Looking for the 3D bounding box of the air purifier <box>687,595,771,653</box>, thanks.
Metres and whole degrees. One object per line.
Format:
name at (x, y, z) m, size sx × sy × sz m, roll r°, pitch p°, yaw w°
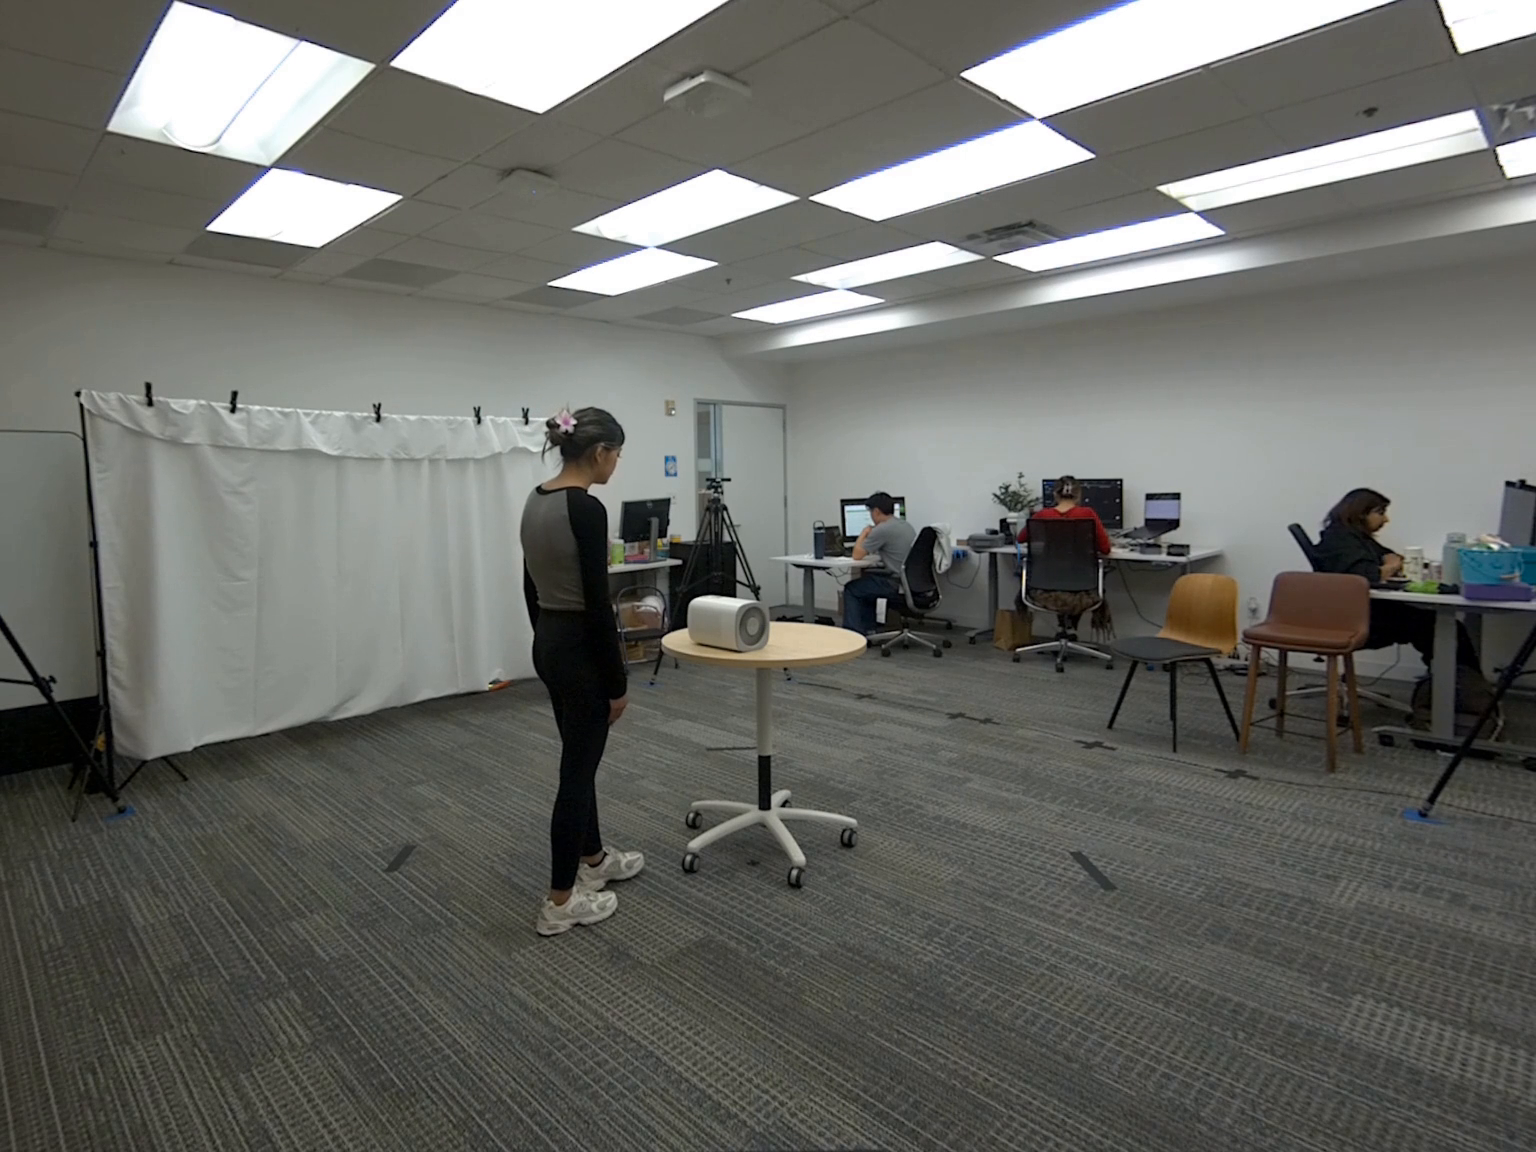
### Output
air purifier at (-0.146, 0.164, 3.071) m, size 0.273 × 0.171 × 0.166 m, roll 5°, pitch 7°, yaw 44°
